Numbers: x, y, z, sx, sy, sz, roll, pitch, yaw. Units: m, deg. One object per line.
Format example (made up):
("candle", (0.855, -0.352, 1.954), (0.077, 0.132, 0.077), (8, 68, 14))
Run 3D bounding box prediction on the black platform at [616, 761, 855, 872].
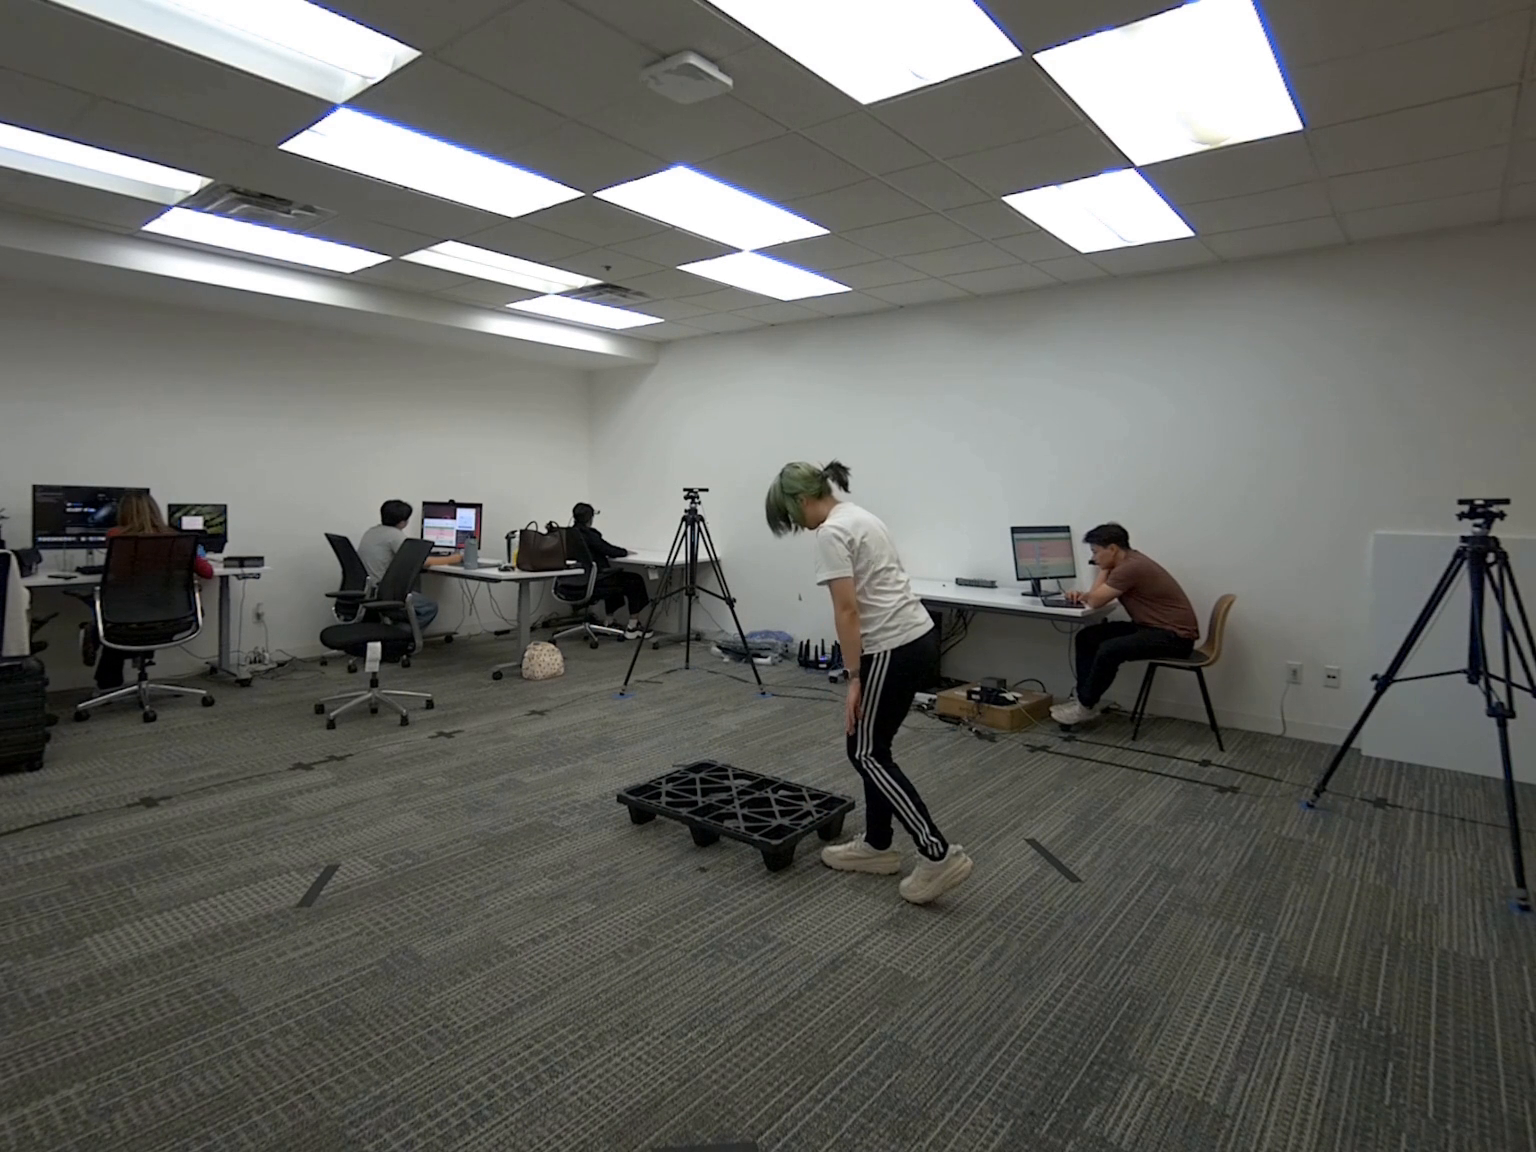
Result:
("black platform", (-0.142, 0.968, 3.490), (0.832, 0.143, 0.588), (5, 7, 36))
